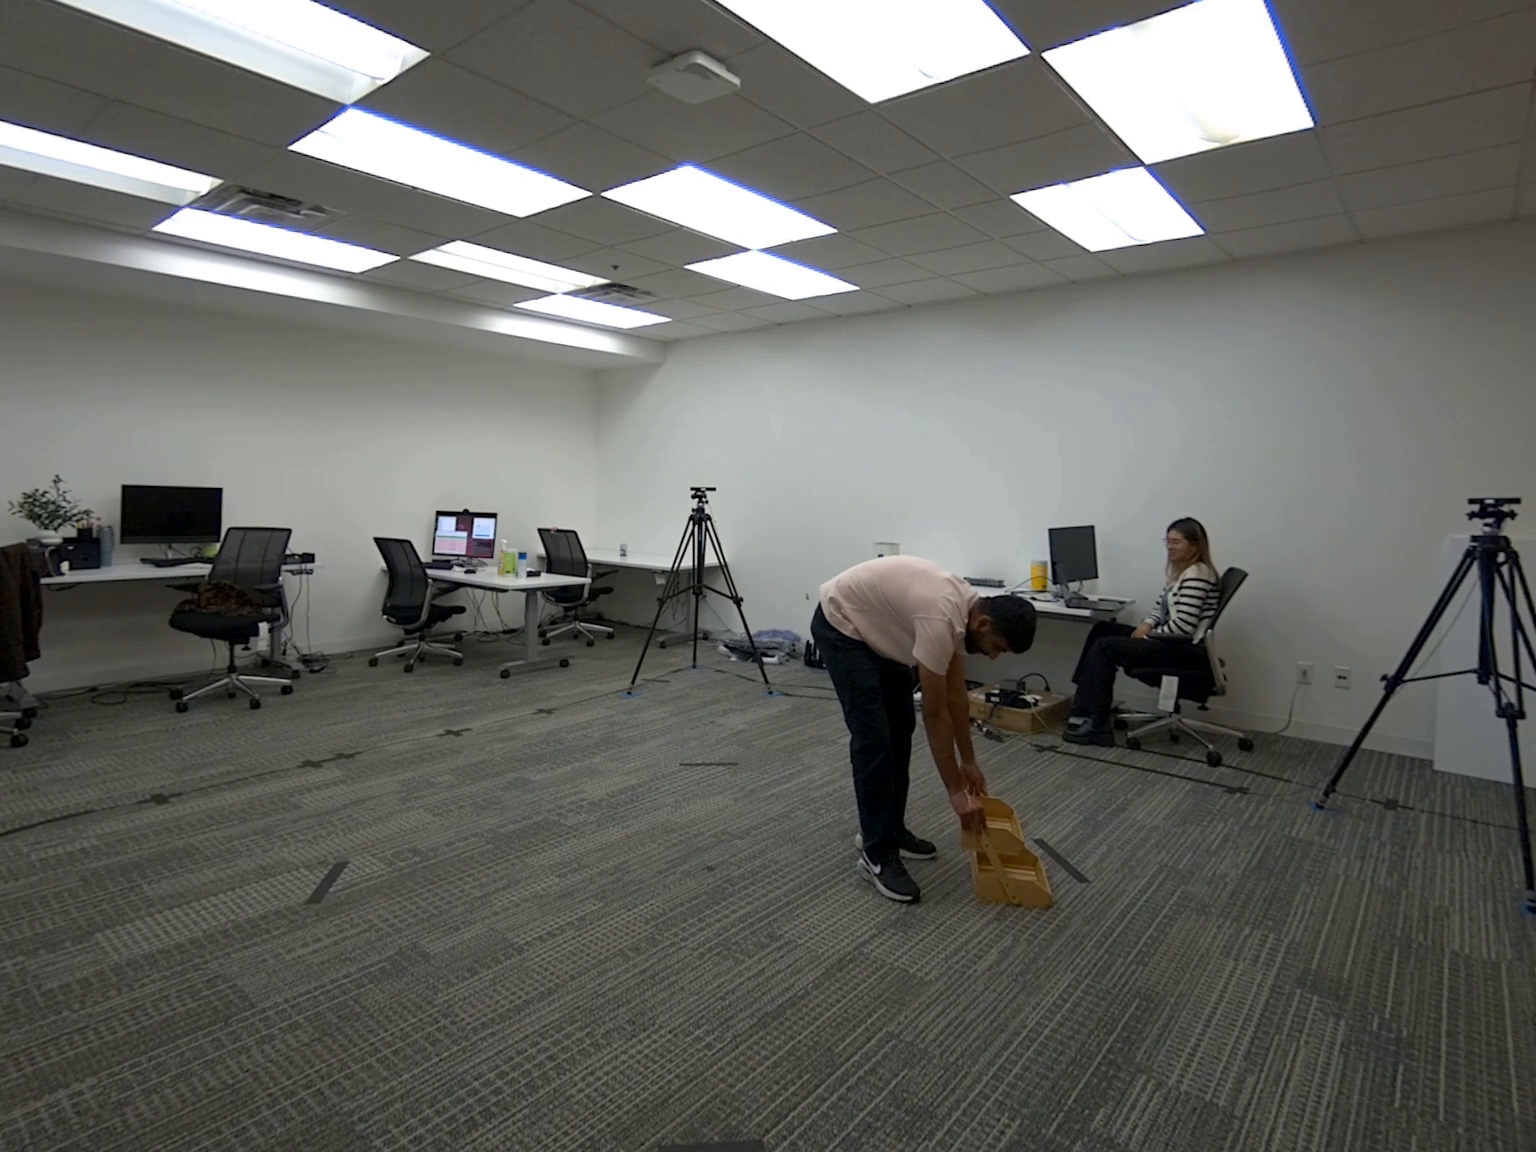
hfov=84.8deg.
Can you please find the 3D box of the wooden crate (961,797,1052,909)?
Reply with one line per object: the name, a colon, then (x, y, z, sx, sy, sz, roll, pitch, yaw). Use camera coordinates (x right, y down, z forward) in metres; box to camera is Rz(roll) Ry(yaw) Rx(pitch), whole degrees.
wooden crate: (0.828, 0.967, 3.037, 0.305, 0.272, 0.322, 2, 5, 9)
